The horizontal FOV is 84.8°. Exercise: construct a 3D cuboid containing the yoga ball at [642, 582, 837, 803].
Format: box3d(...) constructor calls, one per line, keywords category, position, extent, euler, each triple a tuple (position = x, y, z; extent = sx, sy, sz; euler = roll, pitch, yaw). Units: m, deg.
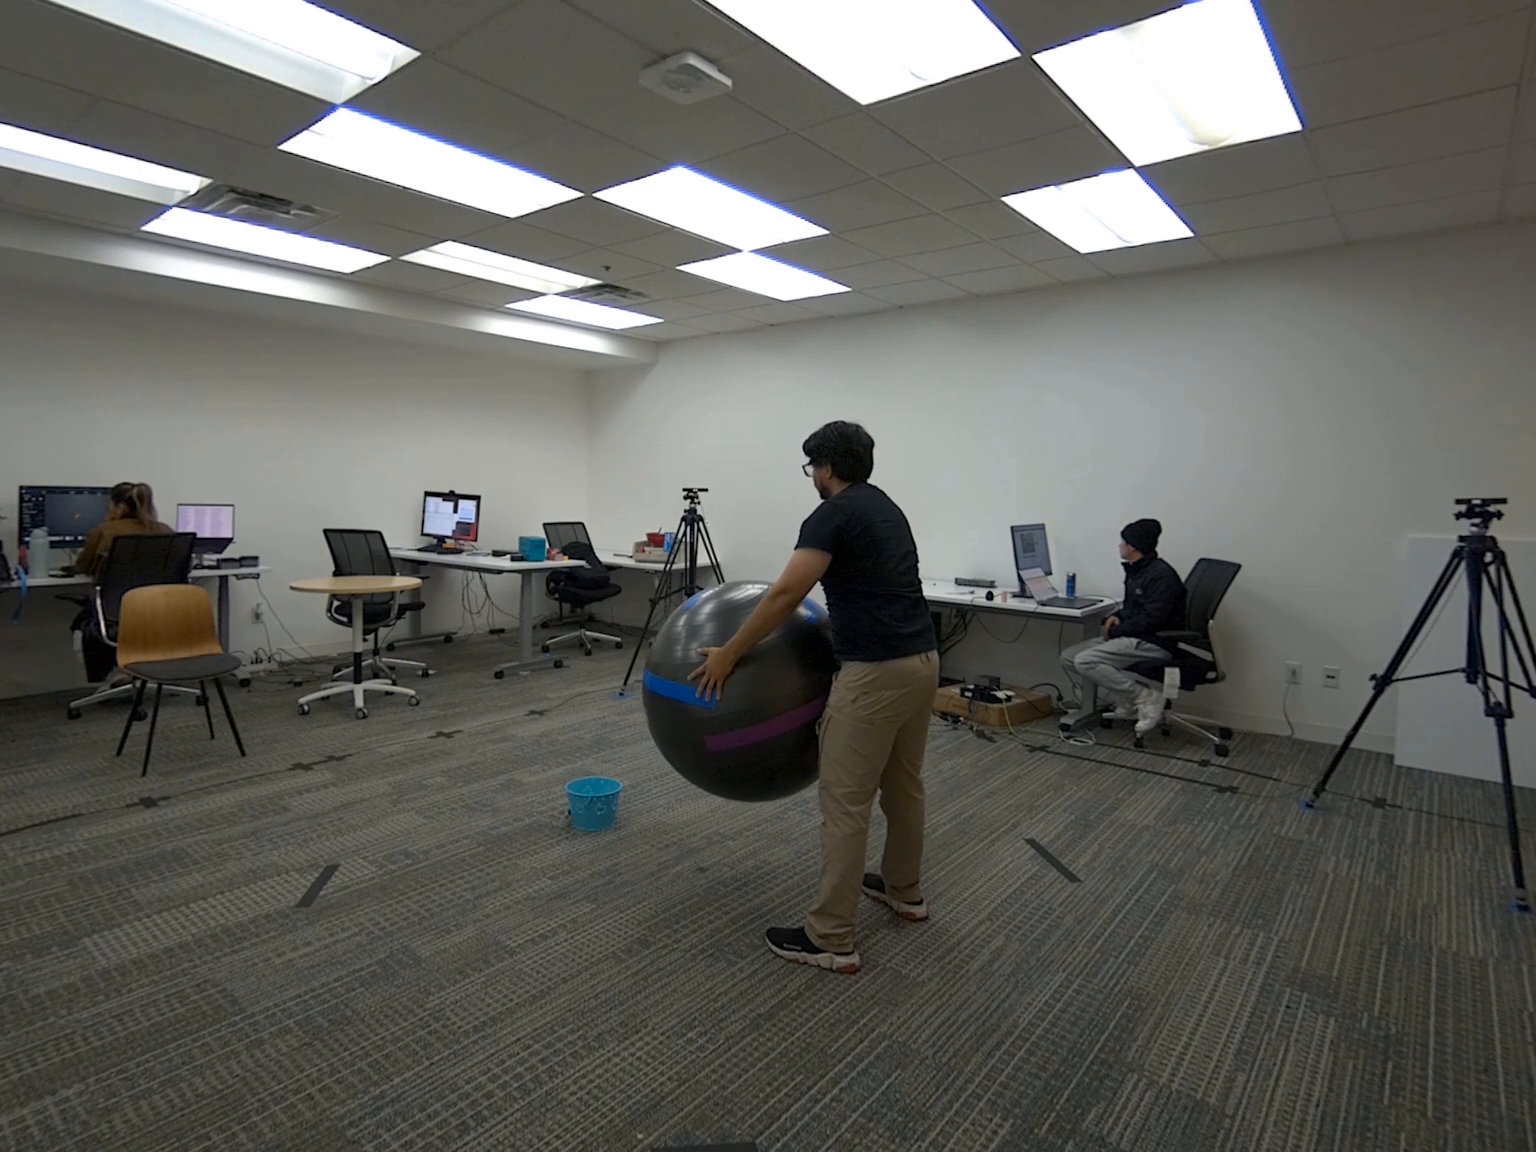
box3d(category="yoga ball", position=(-0.075, 0.394, 2.972), extent=(0.757, 0.756, 0.761), euler=(1, 4, -2))
